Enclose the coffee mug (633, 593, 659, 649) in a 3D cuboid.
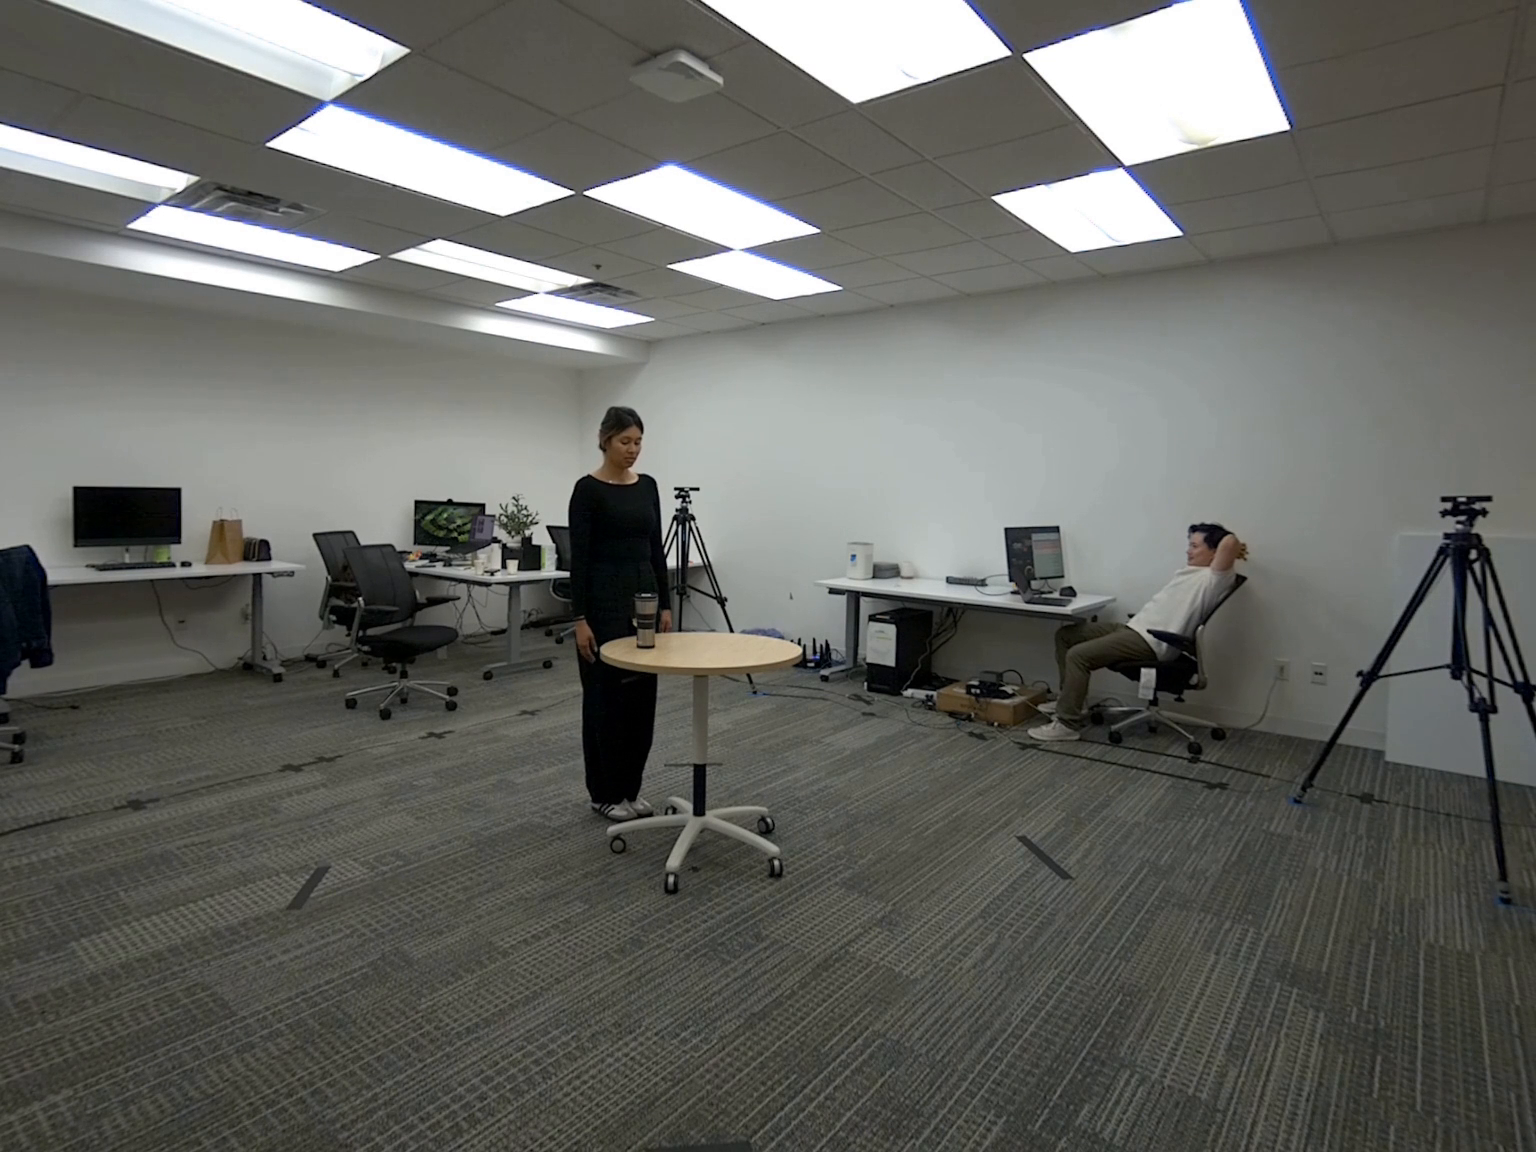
[{"bbox_3d":[-0.492,0.165,3.247,0.085,0.202,0.126,-5,8,-33],"label":"coffee mug"}]
